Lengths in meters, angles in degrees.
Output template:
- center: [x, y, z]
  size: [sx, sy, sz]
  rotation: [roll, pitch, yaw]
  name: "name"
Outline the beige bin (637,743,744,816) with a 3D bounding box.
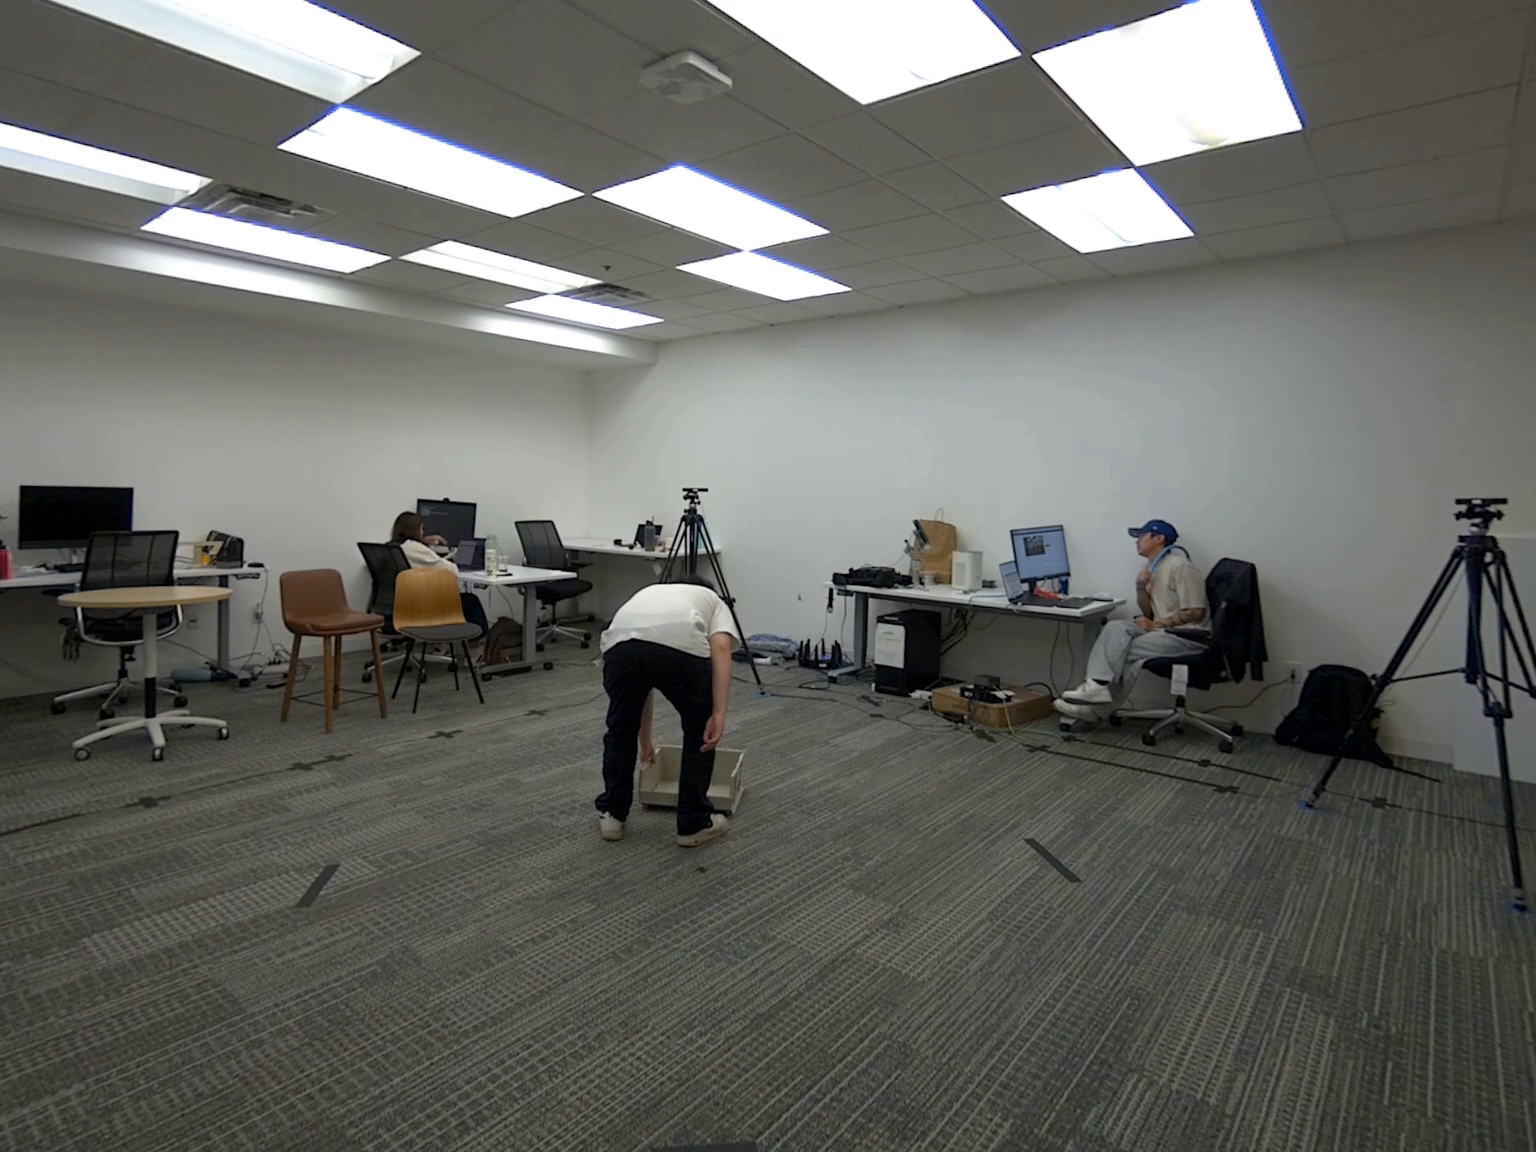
- center: [-0.343, 0.909, 3.807]
  size: [0.426, 0.188, 0.375]
  rotation: [1, 4, 8]
  name: "beige bin"
